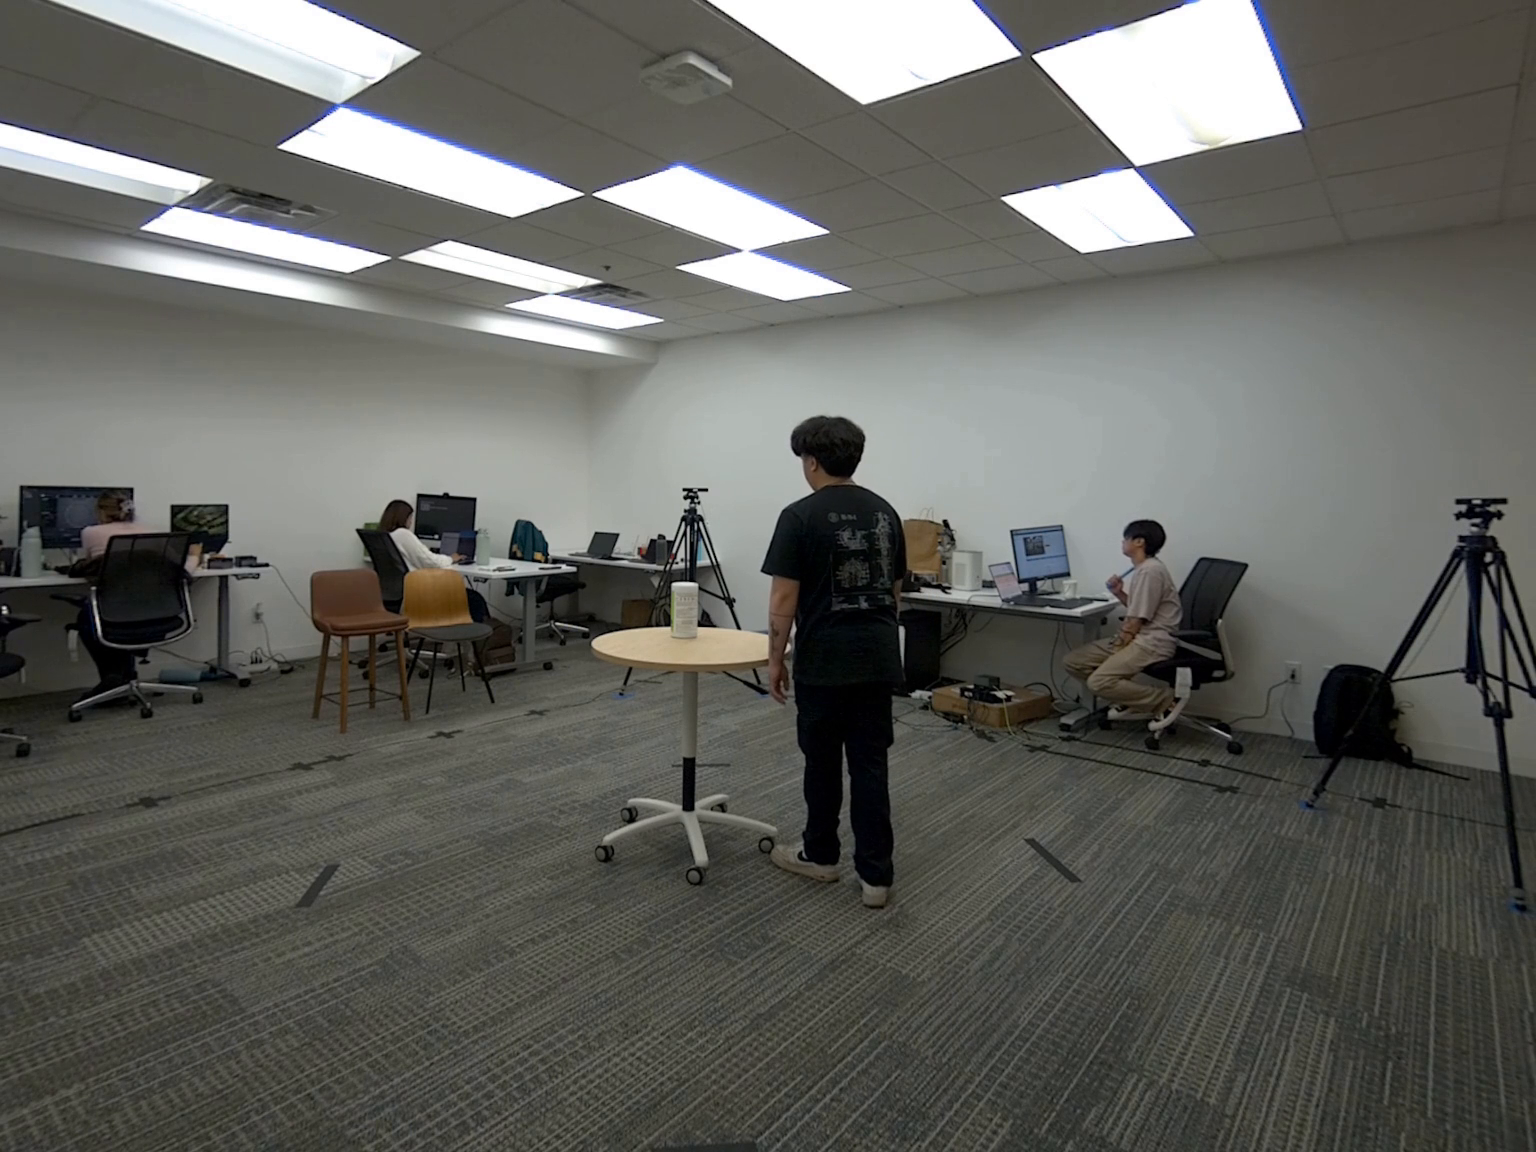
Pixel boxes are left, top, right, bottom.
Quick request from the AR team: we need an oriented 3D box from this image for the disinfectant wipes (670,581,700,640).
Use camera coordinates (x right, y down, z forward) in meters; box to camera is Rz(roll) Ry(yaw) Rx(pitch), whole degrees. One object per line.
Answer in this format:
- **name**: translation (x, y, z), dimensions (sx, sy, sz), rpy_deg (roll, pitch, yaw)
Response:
- **disinfectant wipes**: translation (-0.346, 0.134, 3.423), dimensions (0.118, 0.217, 0.118), rpy_deg (1, 4, -2)
